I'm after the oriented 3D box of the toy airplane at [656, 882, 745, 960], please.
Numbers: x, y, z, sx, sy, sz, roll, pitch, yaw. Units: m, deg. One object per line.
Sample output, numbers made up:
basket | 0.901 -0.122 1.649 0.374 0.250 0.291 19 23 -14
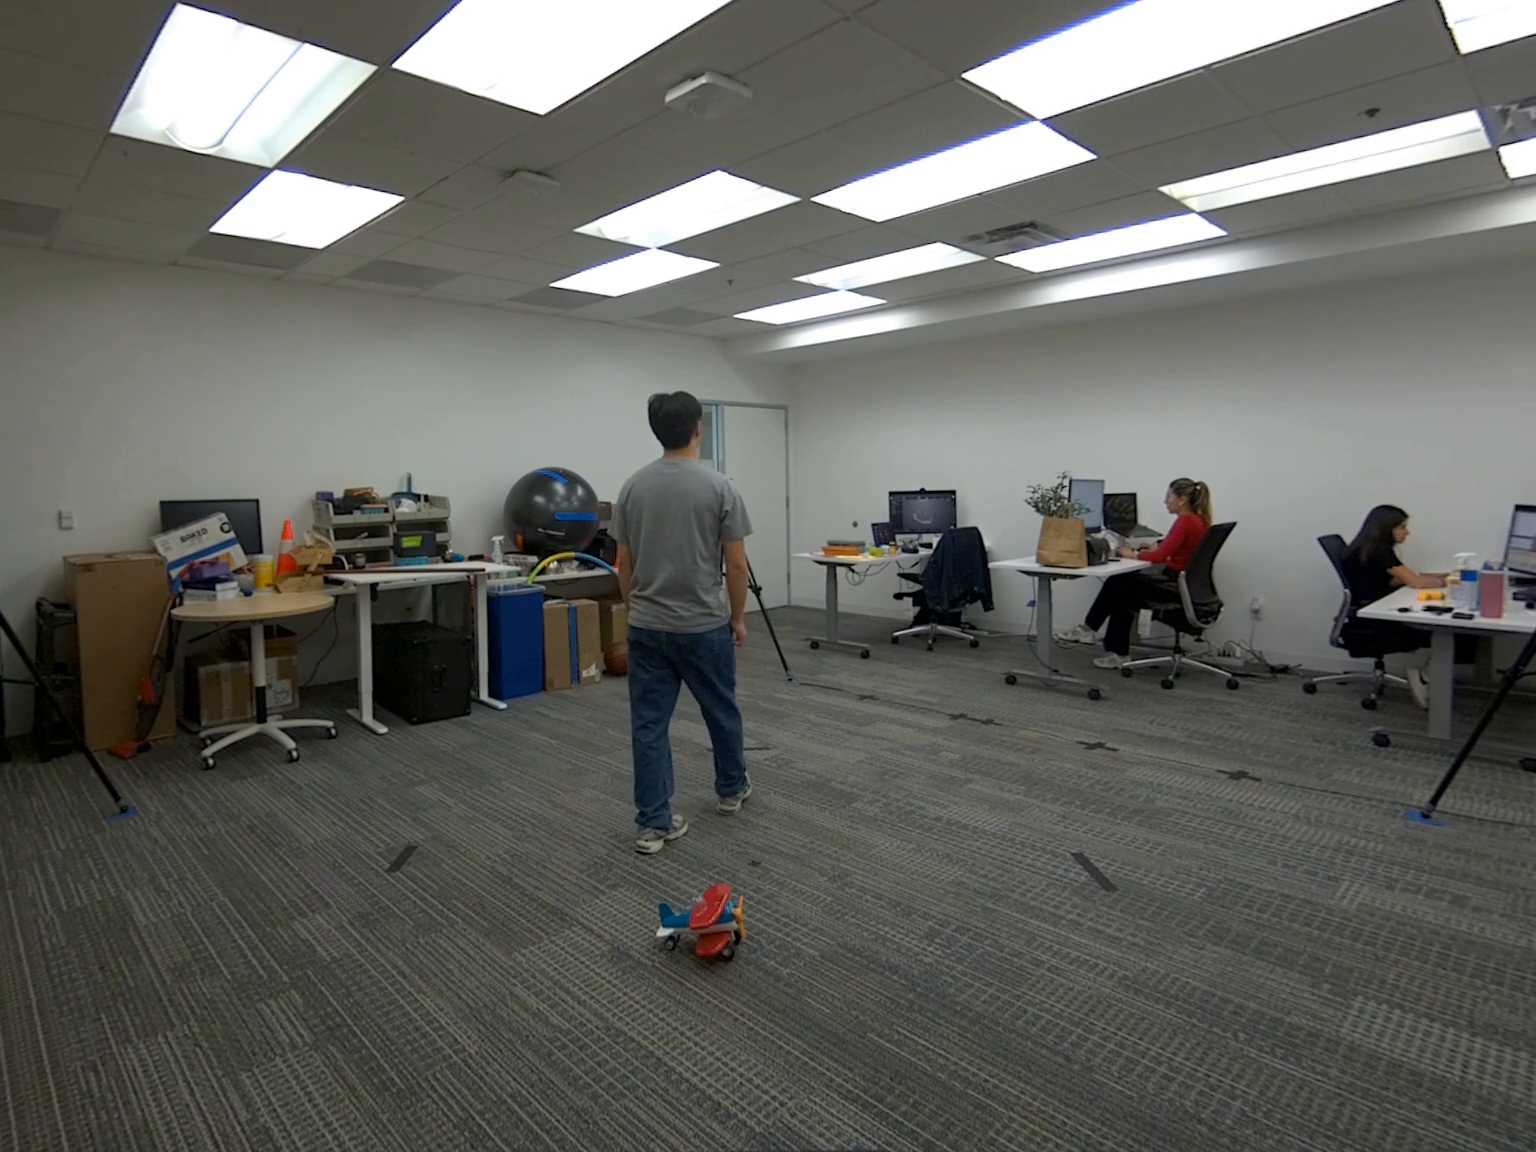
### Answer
toy airplane | -0.200 1.048 2.526 0.256 0.156 0.255 -2 5 -15
